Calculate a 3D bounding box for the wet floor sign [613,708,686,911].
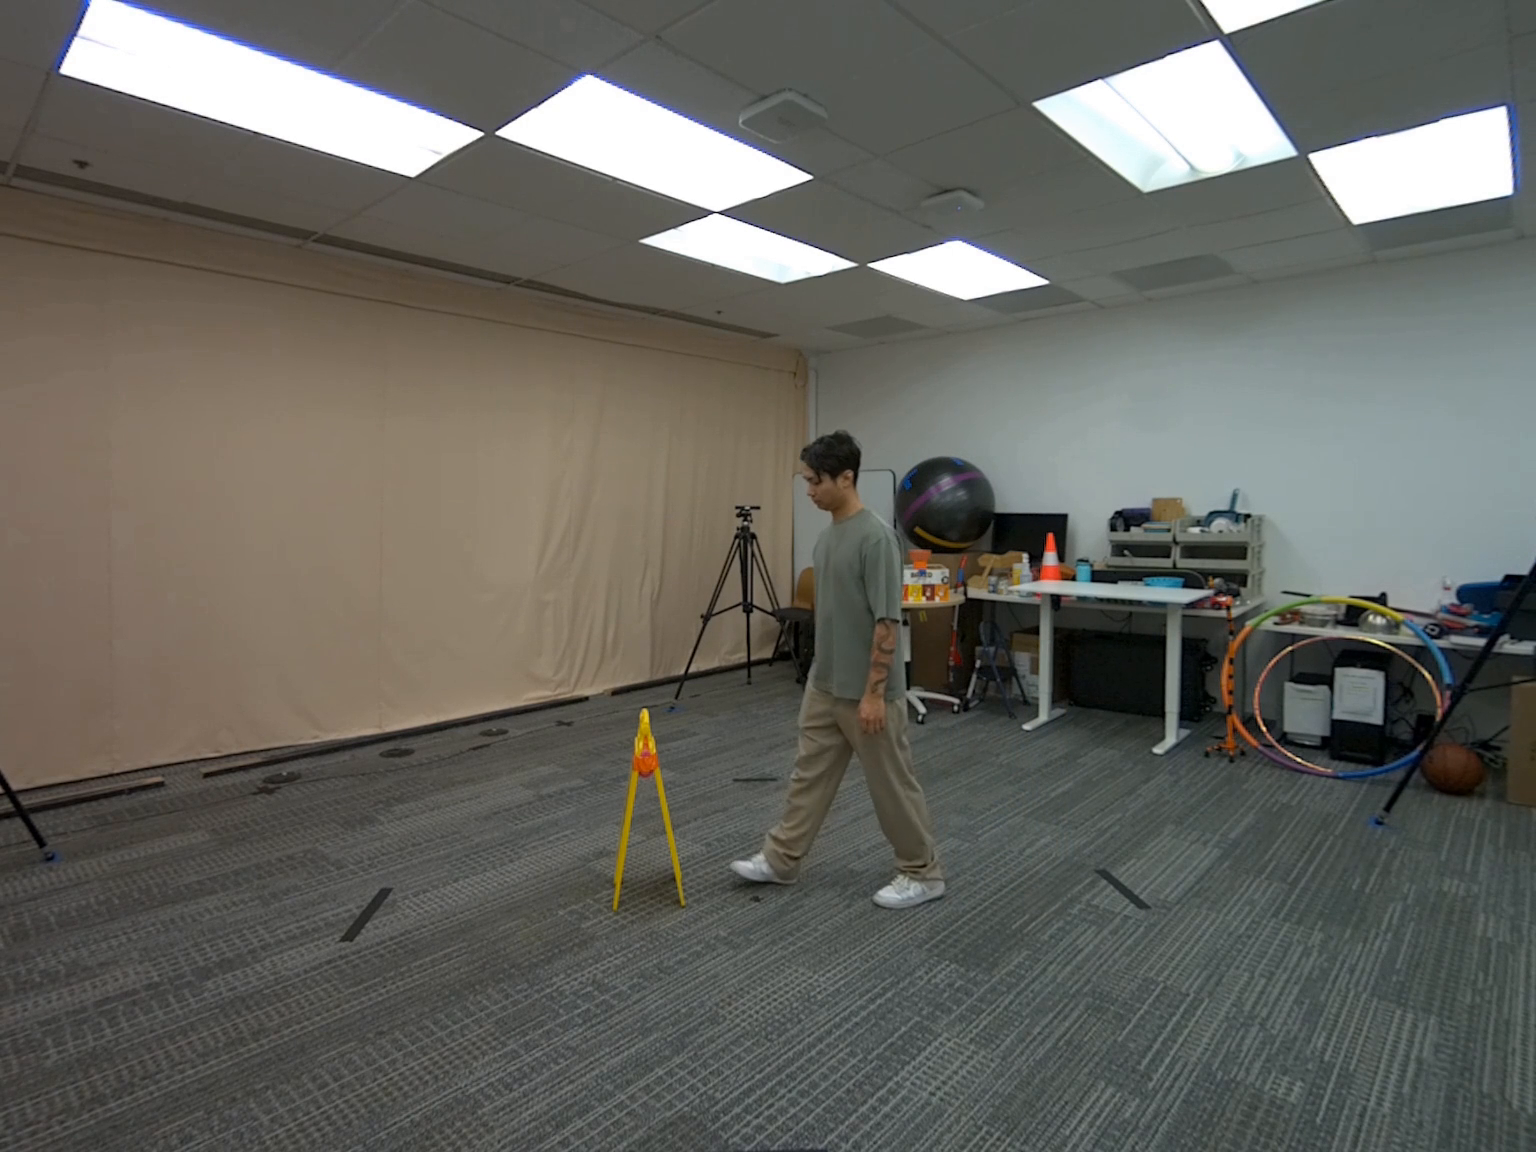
[{"bbox_3d":[-0.434,0.823,3.034,0.288,0.645,0.285,-2,2,-7],"label":"wet floor sign"}]
